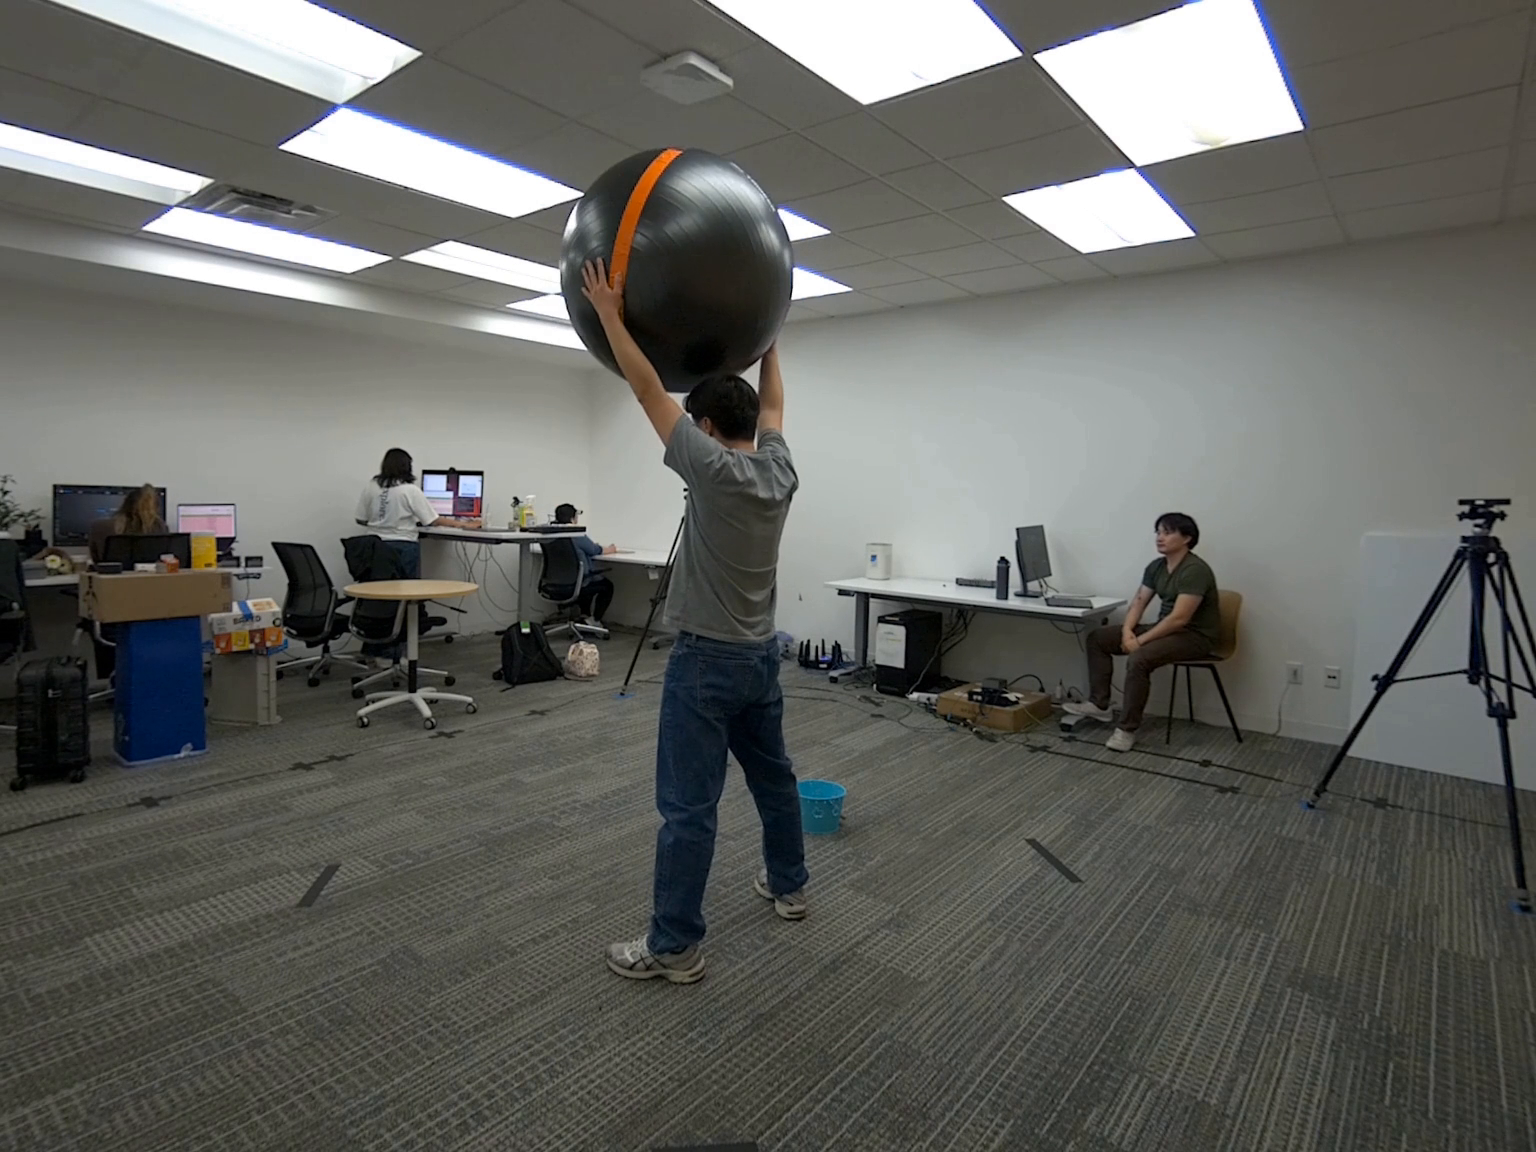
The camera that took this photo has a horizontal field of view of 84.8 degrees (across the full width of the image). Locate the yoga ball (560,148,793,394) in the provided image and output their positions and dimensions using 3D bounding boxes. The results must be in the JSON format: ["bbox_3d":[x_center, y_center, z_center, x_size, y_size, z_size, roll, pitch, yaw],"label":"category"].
[{"bbox_3d":[-0.324,-0.961,2.778,0.757,0.755,0.762,1,4,-2],"label":"yoga ball"}]
